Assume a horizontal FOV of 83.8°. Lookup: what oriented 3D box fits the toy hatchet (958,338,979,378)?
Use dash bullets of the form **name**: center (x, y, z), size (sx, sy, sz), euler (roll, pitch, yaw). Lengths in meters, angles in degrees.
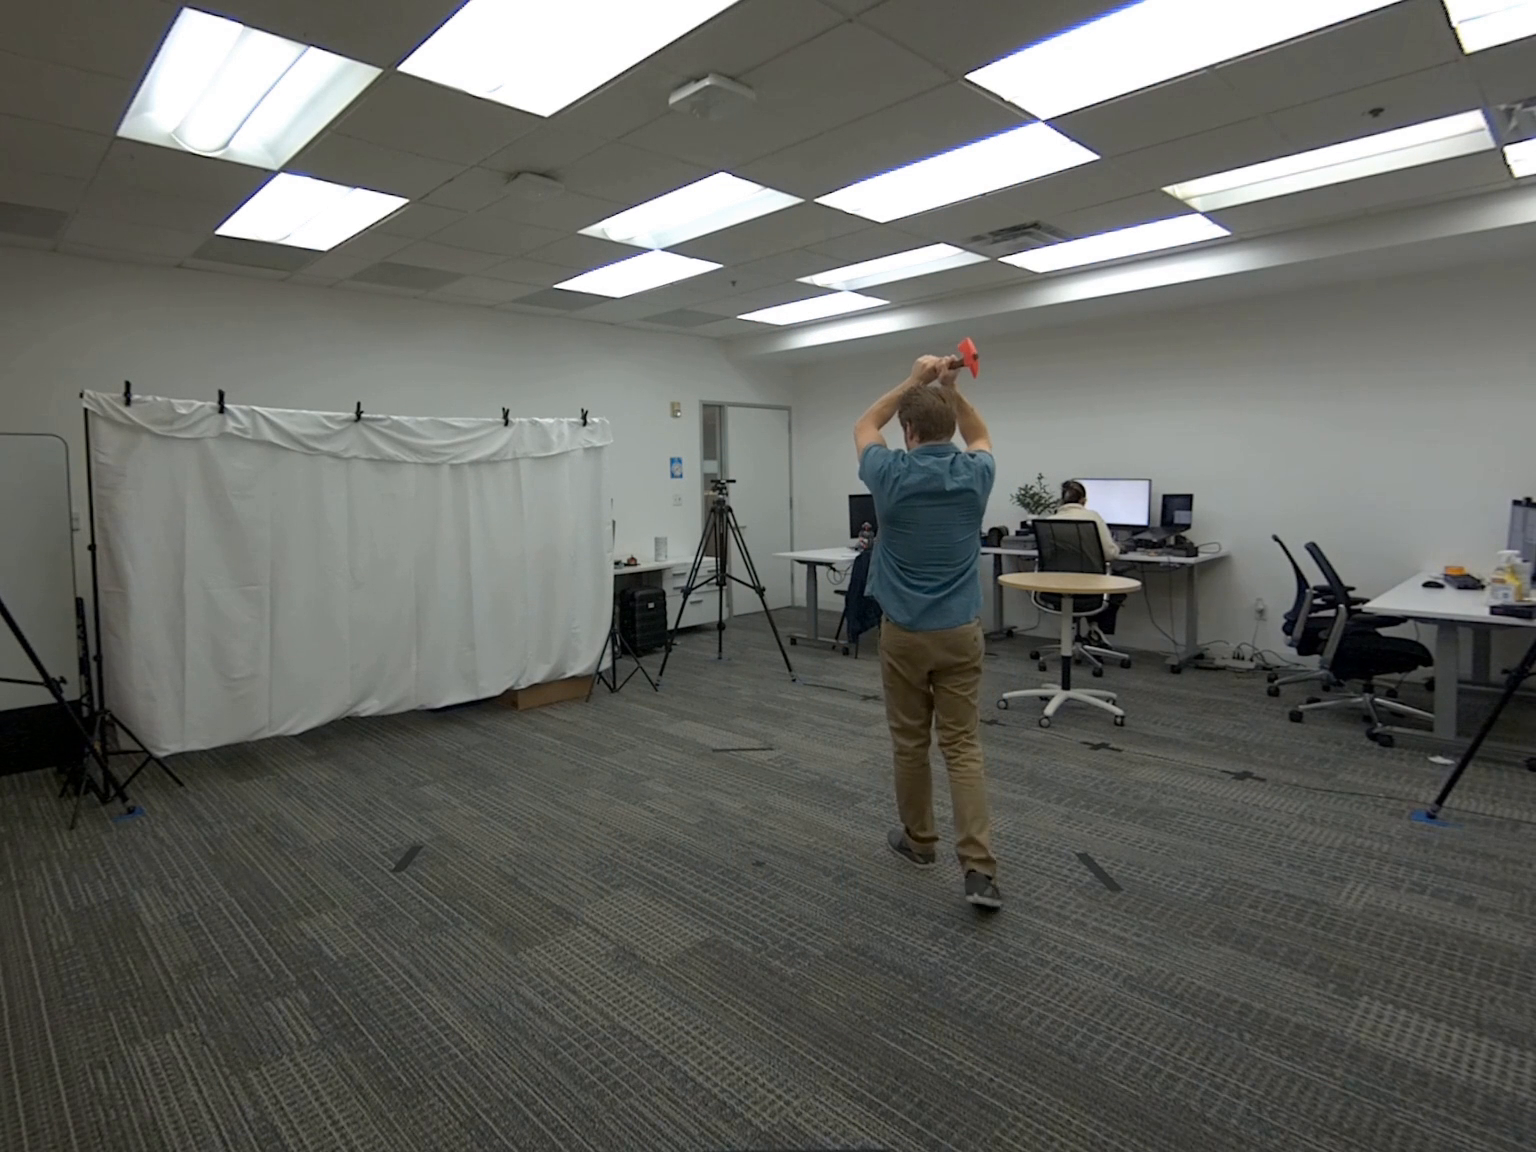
- **toy hatchet**: center (0.646, -0.762, 2.949), size (0.029, 0.128, 0.278), euler (-14, 22, -14)
